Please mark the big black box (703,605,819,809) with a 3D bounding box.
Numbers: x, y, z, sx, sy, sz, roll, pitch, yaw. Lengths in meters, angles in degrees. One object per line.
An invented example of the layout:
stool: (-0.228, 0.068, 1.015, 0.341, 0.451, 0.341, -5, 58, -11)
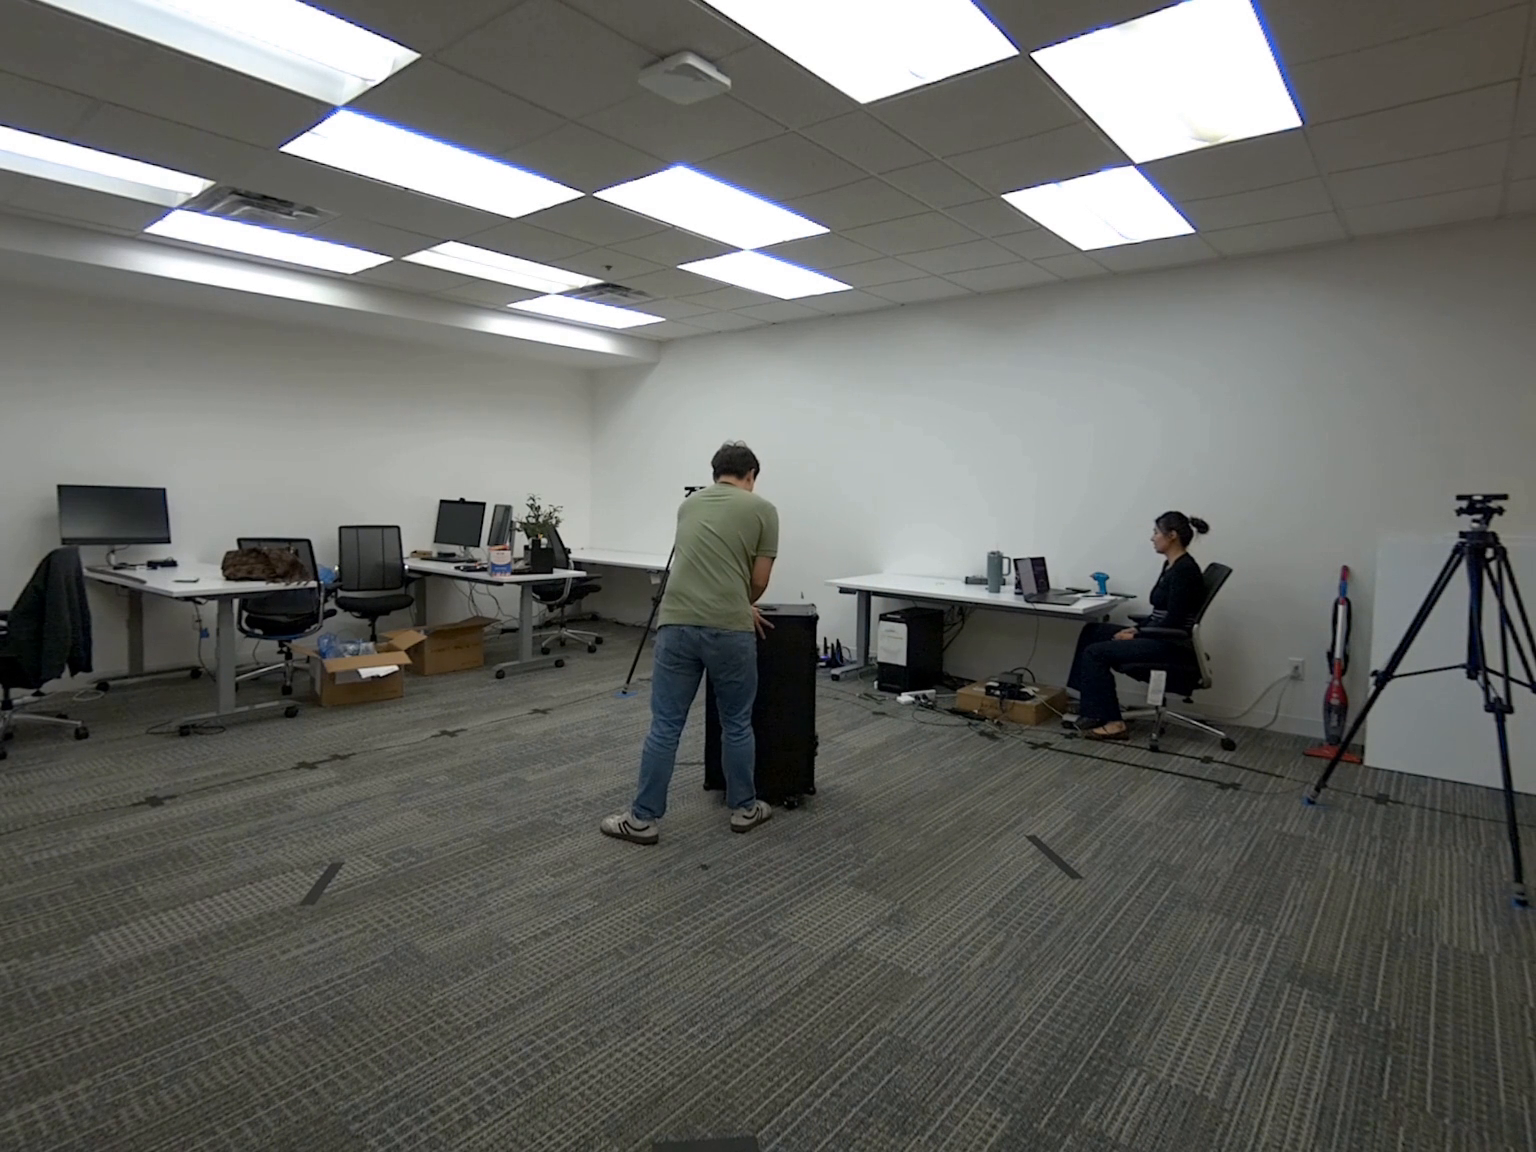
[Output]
big black box: (-0.045, 0.567, 3.870, 0.523, 0.859, 0.396, 1, 3, 3)
